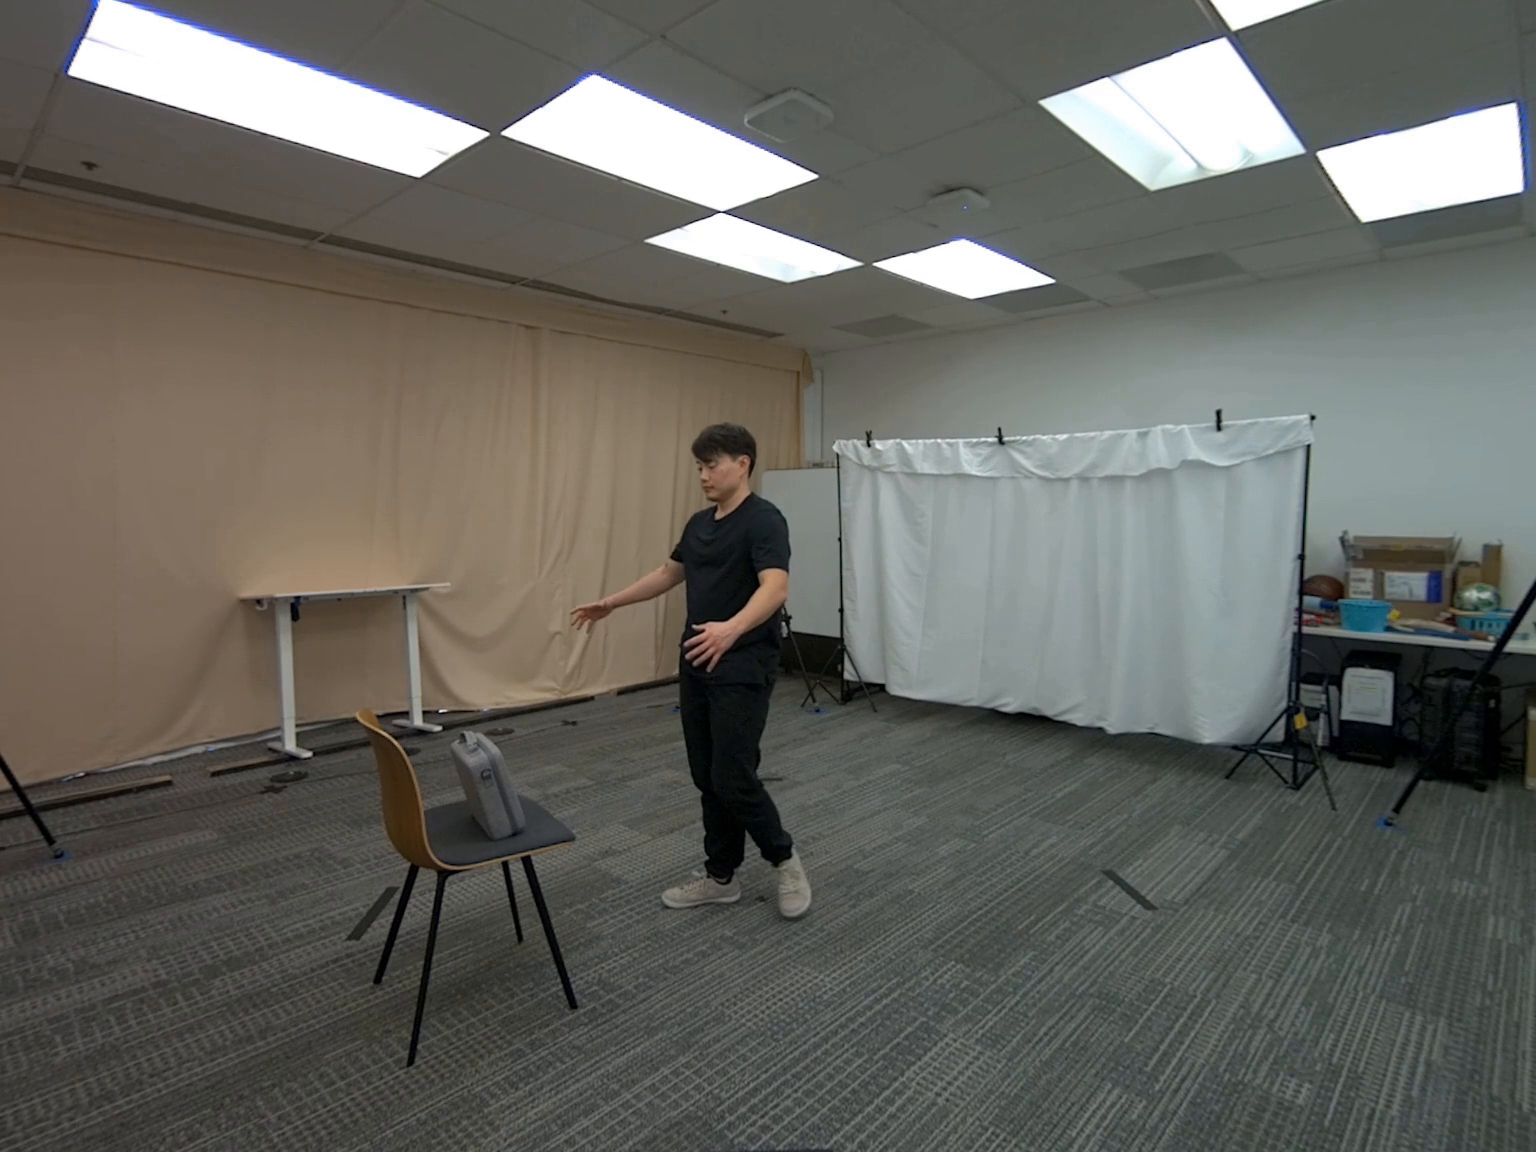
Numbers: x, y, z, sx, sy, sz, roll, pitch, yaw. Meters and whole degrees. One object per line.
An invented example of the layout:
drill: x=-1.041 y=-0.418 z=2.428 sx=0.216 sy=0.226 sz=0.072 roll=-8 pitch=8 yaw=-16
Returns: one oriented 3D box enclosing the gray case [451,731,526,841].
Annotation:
gray case: x=-0.805 y=0.590 z=2.387 sx=0.102 sy=0.258 sz=0.264 roll=-17 pitch=12 yaw=-26
